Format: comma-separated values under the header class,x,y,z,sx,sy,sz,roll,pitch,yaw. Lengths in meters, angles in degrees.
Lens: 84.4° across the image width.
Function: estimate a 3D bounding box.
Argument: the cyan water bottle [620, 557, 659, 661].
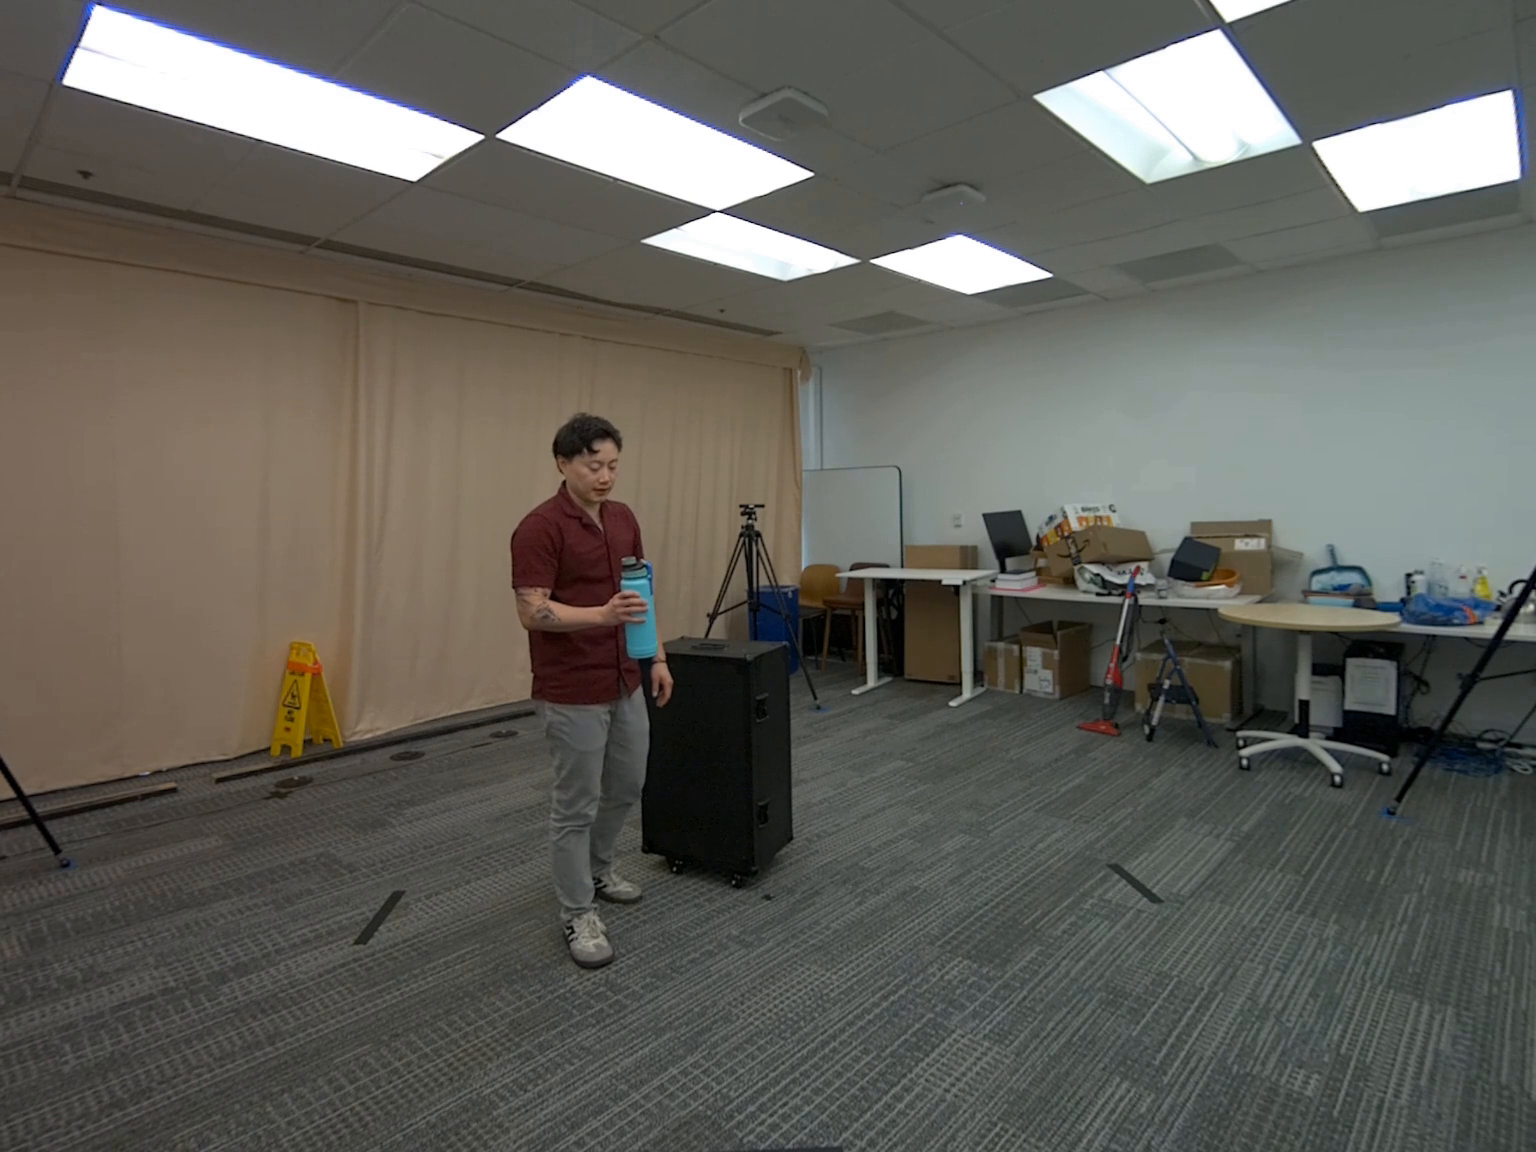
class,x,y,z,sx,sy,sz,roll,pitch,yaw
cyan water bottle,-0.371,0.088,2.395,0.092,0.282,0.093,0,9,-2
